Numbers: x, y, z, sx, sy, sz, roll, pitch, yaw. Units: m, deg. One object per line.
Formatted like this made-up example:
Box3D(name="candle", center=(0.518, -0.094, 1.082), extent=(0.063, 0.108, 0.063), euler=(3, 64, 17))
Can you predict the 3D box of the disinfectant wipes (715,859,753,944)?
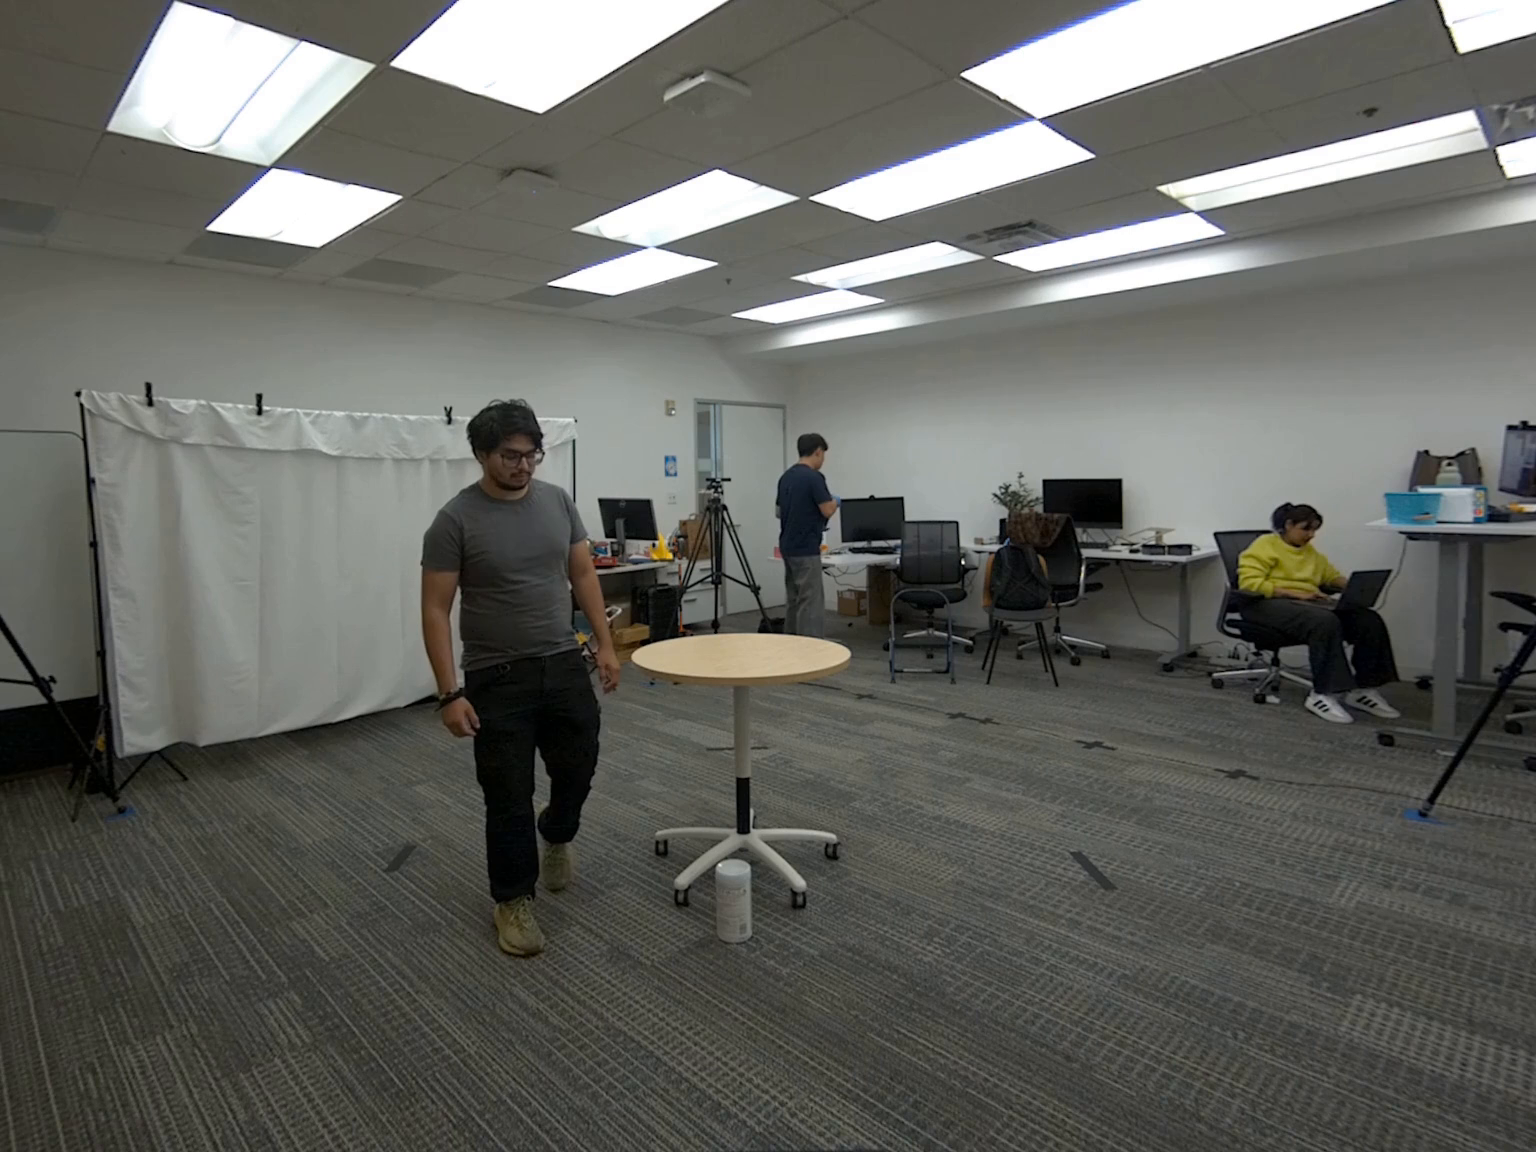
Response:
Box3D(name="disinfectant wipes", center=(-0.100, 0.992, 2.616), extent=(0.118, 0.216, 0.118), euler=(2, 5, -2))
